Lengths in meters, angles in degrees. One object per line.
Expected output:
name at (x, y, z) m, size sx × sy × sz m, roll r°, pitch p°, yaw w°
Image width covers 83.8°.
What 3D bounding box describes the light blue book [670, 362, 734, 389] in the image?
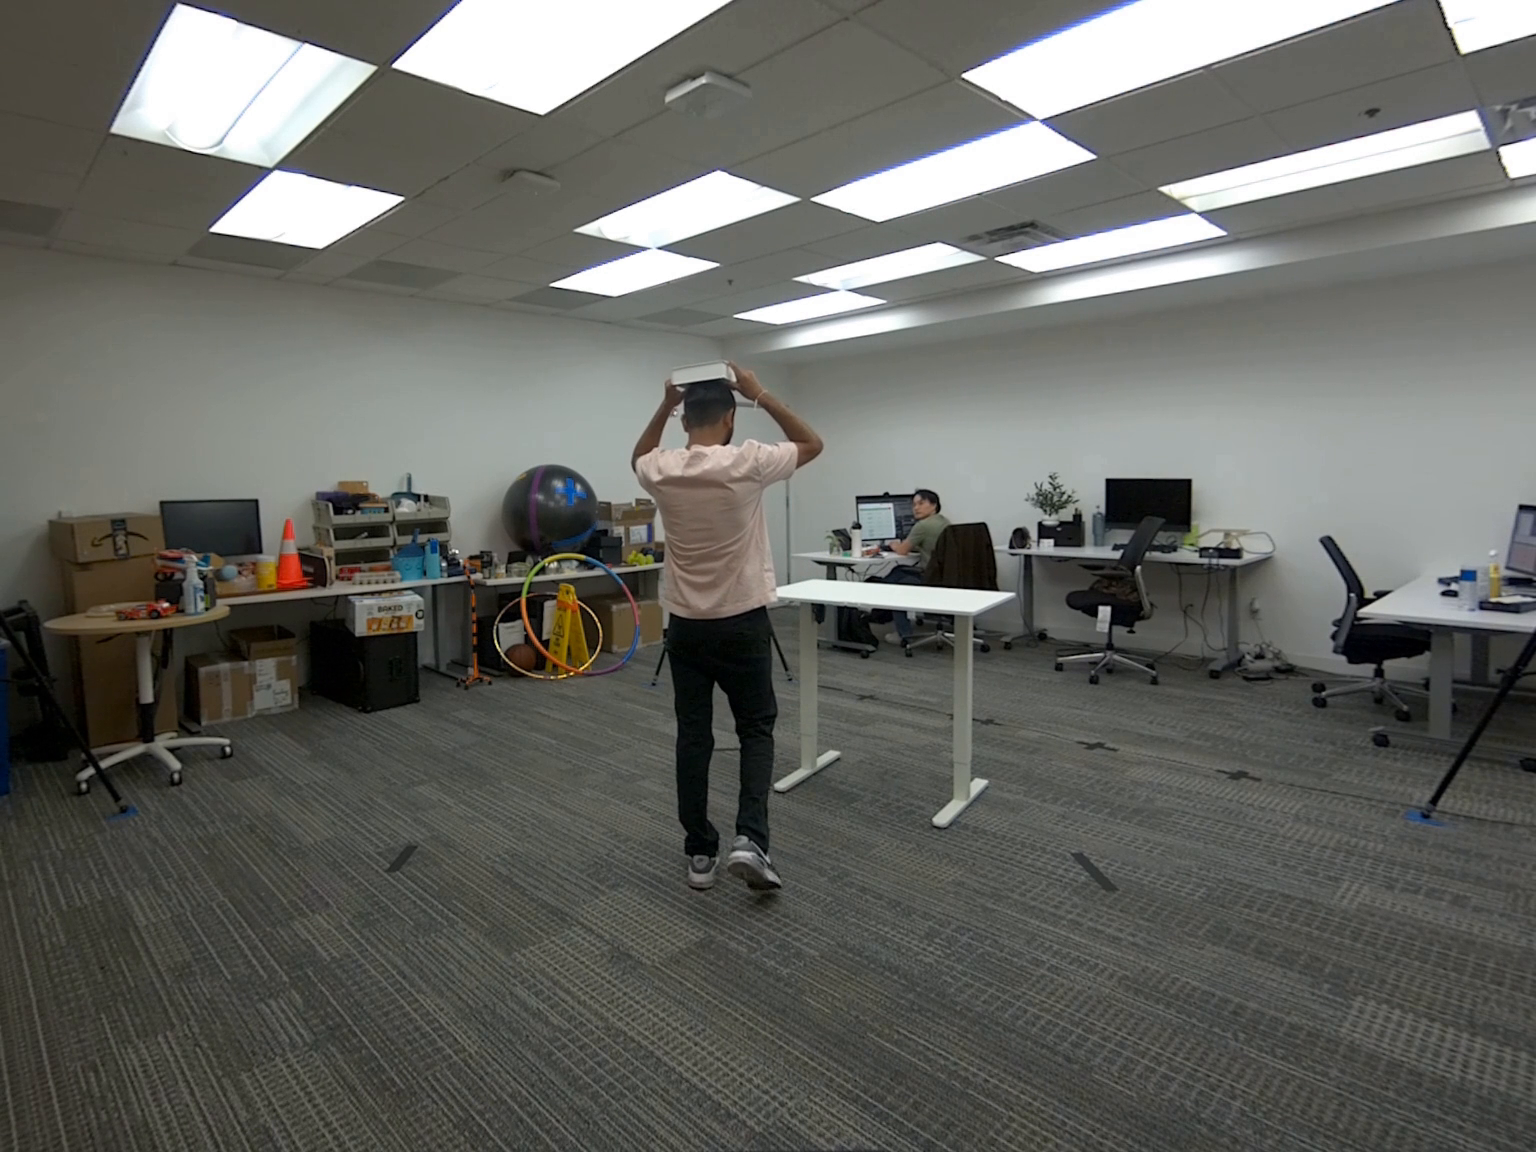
light blue book at (-0.206, -0.685, 2.975) m, size 0.194 × 0.059 × 0.257 m, roll -5°, pitch 2°, yaw 15°
